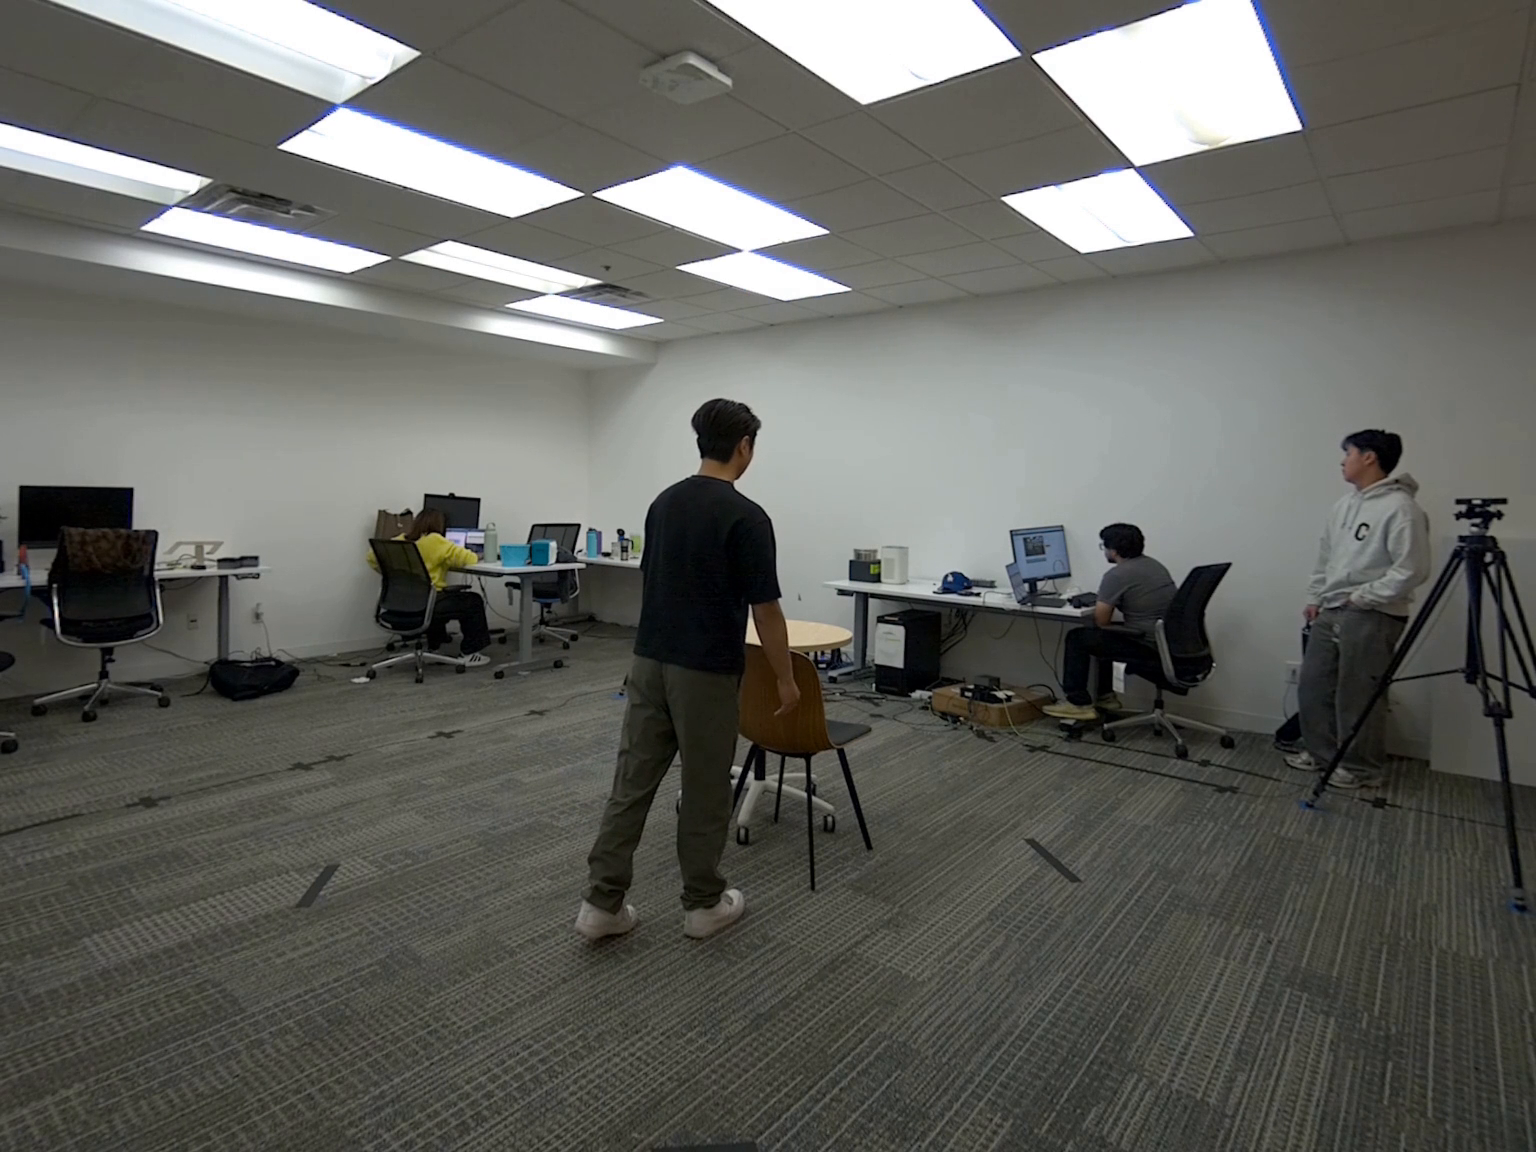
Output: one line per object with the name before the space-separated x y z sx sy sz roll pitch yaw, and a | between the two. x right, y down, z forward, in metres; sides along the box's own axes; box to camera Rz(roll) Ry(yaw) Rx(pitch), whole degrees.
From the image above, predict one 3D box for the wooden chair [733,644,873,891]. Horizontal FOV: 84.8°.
wooden chair | 0.101 0.632 3.246 0.493 0.871 0.510 4 9 35
